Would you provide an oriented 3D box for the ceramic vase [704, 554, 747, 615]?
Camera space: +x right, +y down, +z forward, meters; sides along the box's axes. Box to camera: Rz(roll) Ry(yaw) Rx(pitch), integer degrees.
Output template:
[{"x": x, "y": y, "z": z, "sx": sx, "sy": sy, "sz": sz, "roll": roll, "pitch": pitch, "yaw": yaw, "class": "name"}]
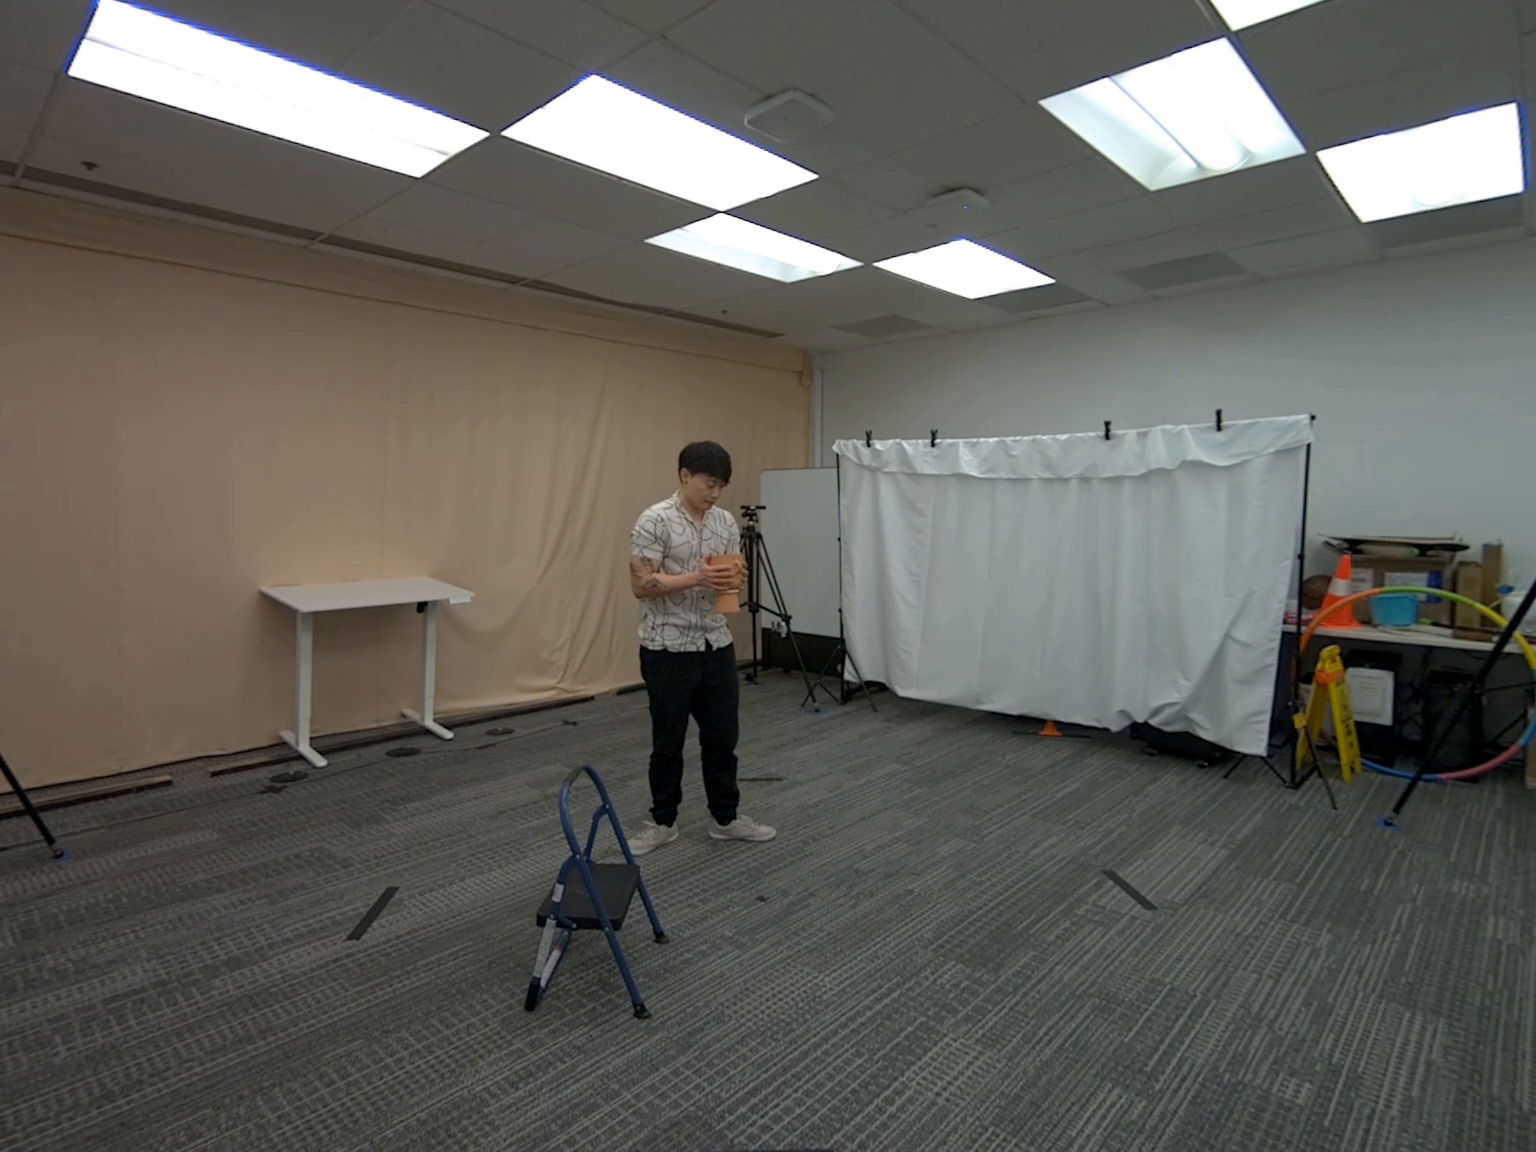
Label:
[{"x": -0.166, "y": 0.030, "z": 3.213, "sx": 0.135, "sy": 0.220, "sz": 0.158, "roll": -5, "pitch": 0, "yaw": 5, "class": "ceramic vase"}]
